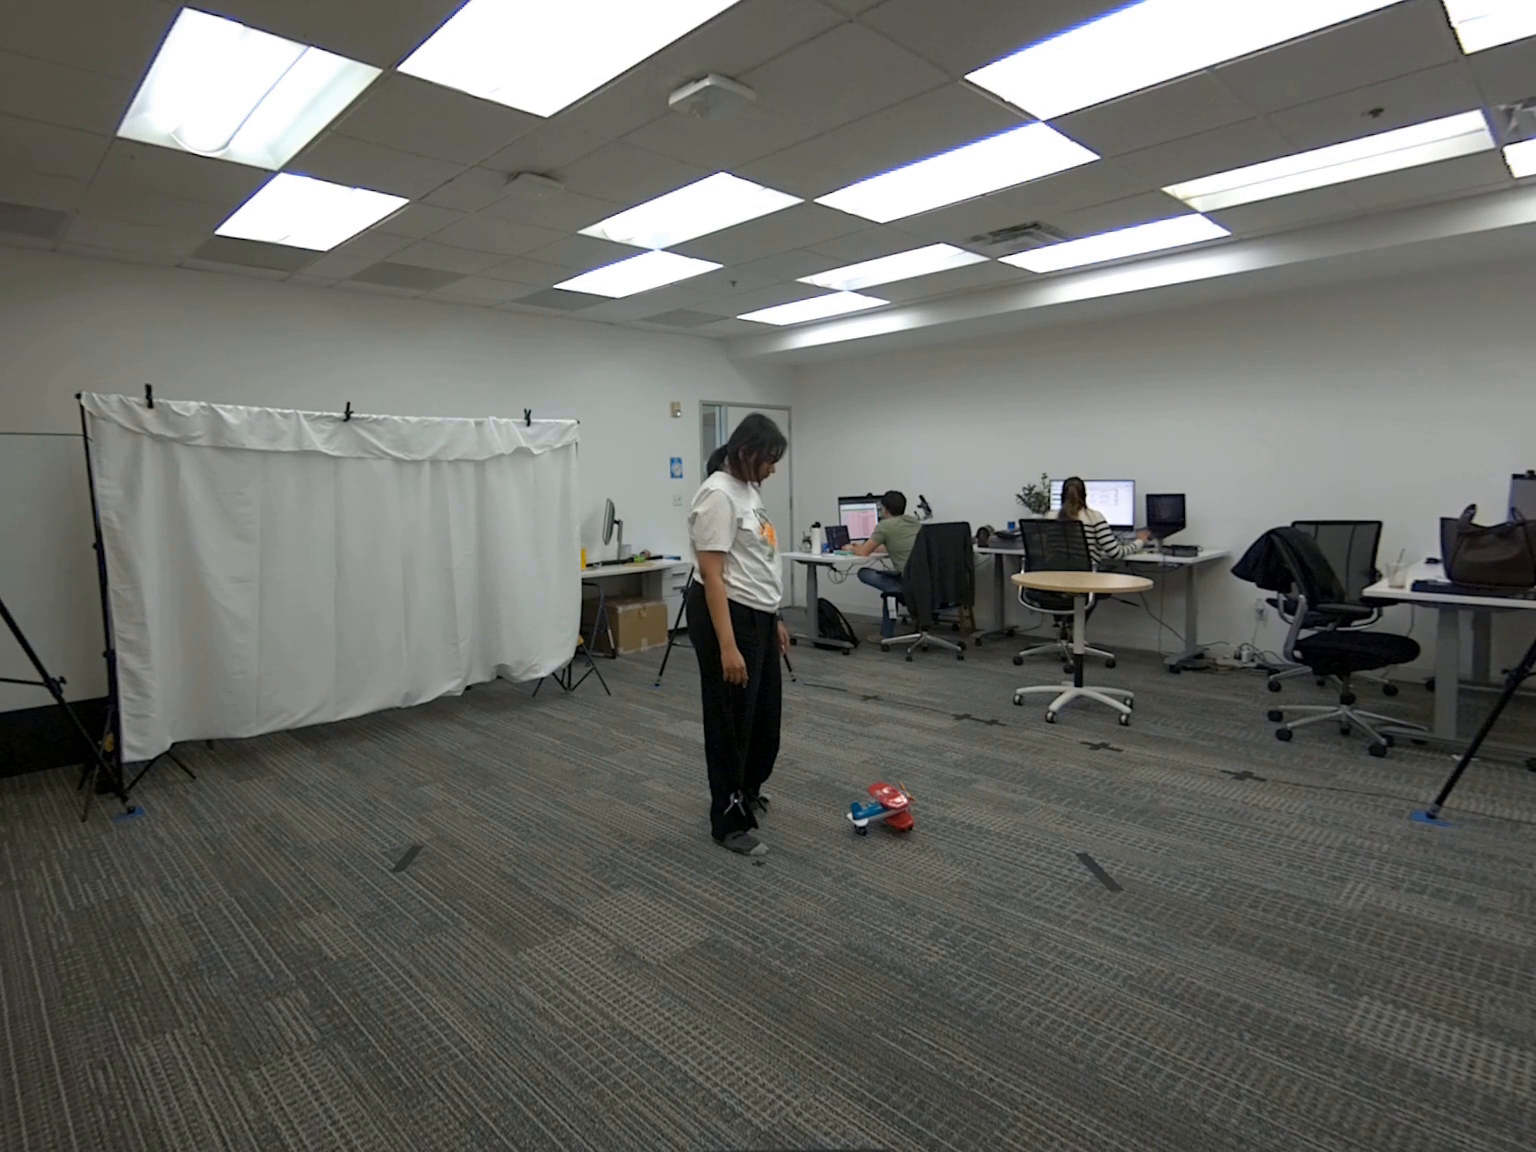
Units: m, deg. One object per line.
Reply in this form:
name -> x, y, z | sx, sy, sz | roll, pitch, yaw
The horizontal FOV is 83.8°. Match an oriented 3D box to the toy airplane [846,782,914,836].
toy airplane -> 0.468, 0.937, 3.371 | 0.252, 0.156, 0.259 | -5, 7, -44
